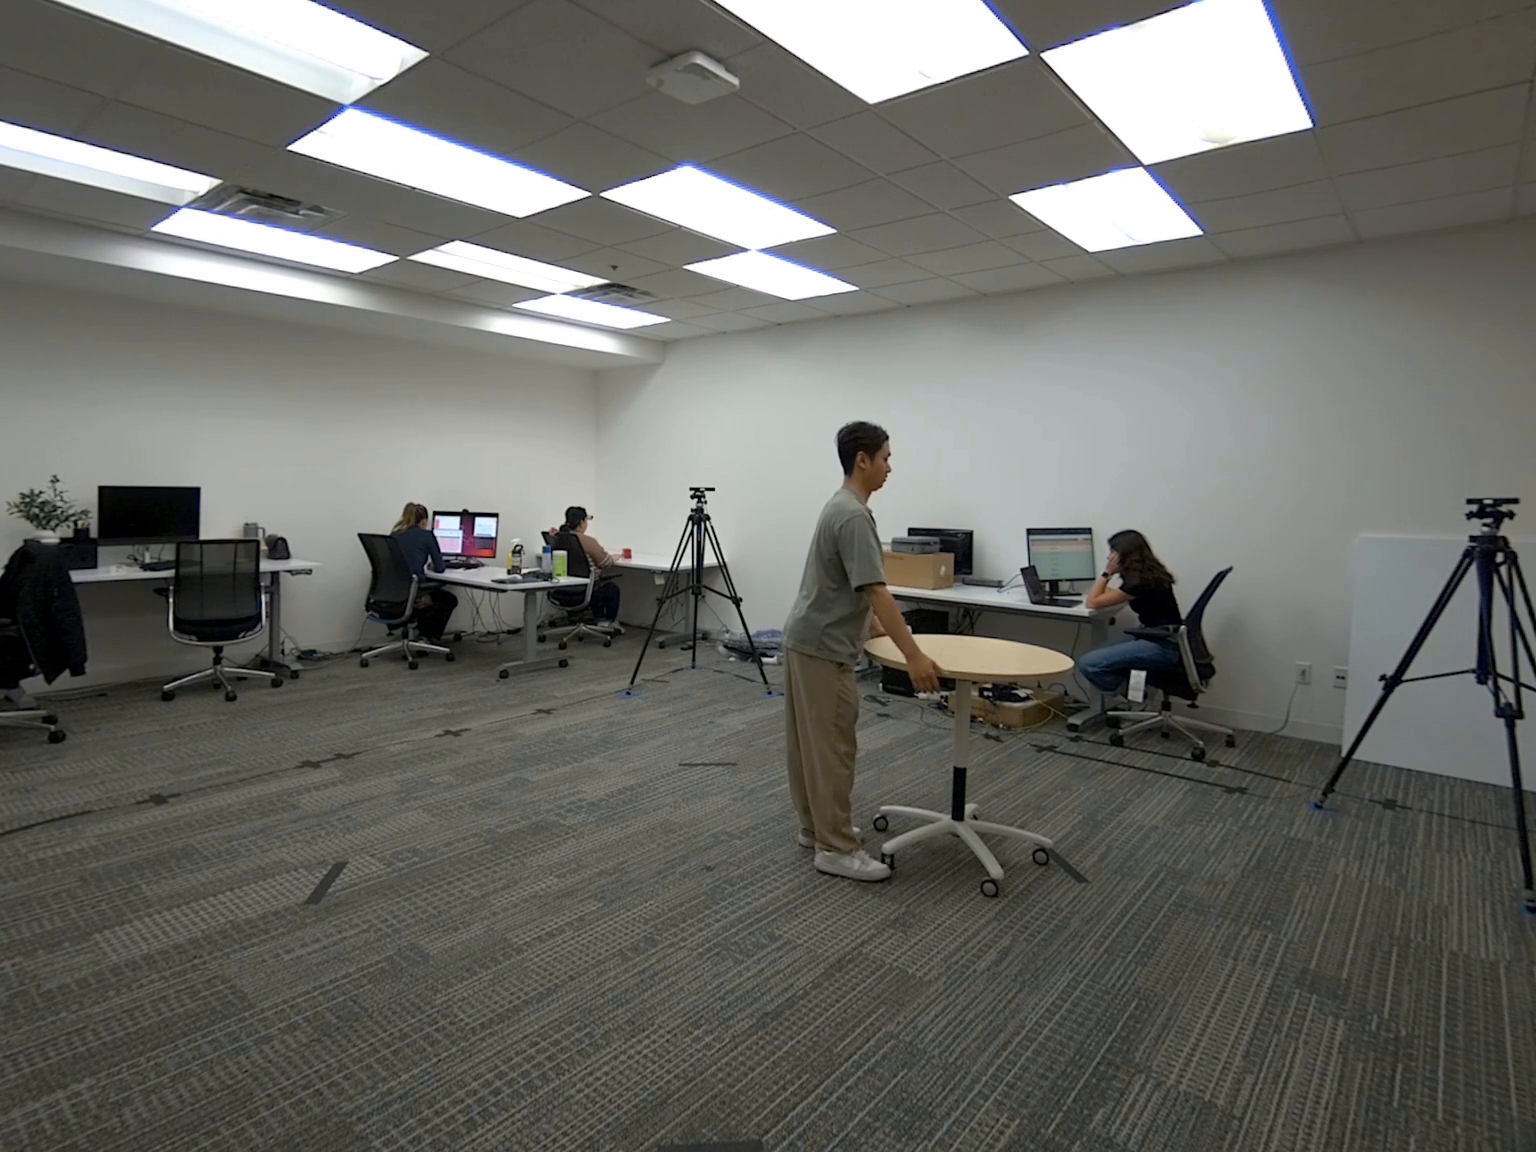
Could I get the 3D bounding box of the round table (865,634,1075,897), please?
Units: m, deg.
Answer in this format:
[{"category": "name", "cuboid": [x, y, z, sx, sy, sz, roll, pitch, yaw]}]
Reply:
[{"category": "round table", "cuboid": [0.728, 0.682, 3.245, 0.784, 0.784, 0.789, 2, 4, -2]}]
